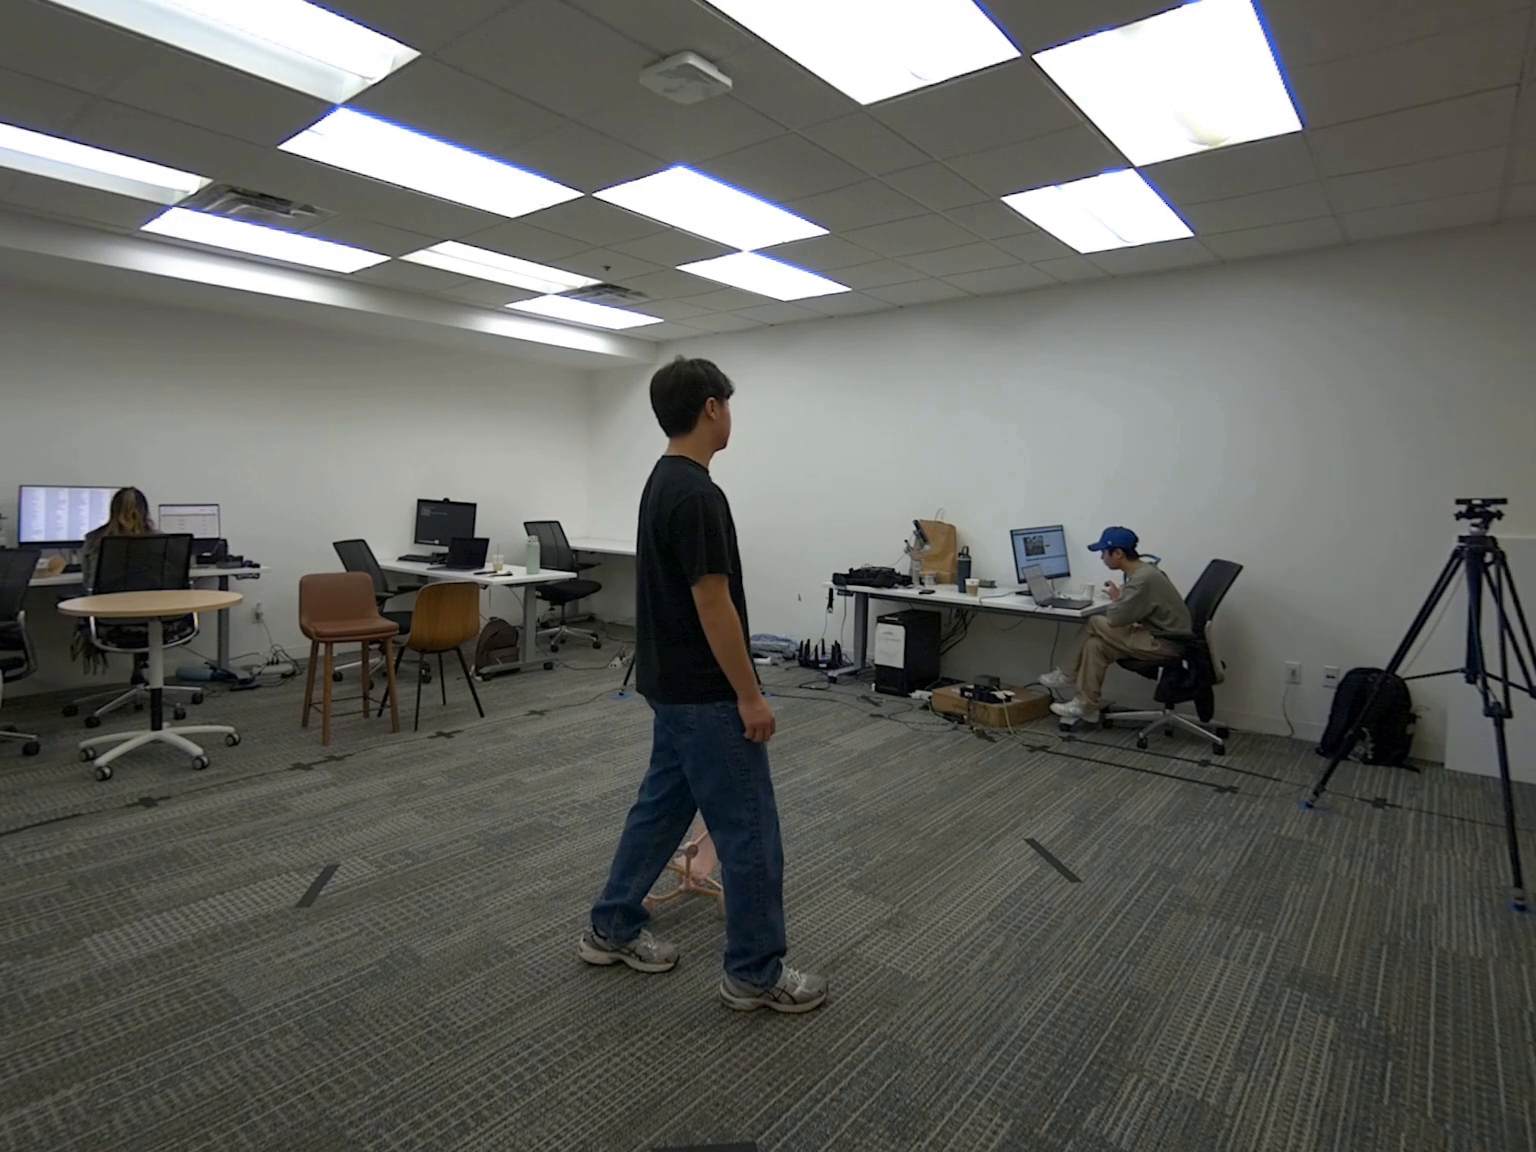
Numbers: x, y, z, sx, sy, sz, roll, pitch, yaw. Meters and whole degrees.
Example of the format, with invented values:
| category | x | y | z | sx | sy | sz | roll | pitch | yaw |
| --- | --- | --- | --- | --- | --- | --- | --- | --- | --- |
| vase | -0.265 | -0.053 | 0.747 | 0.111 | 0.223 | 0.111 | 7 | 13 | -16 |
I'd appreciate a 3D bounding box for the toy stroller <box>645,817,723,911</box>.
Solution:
| category | x | y | z | sx | sy | sz | roll | pitch | yaw |
| --- | --- | --- | --- | --- | --- | --- | --- | --- | --- |
| toy stroller | -0.252 | 0.866 | 2.818 | 0.330 | 0.537 | 0.290 | 16 | -5 | -32 |
